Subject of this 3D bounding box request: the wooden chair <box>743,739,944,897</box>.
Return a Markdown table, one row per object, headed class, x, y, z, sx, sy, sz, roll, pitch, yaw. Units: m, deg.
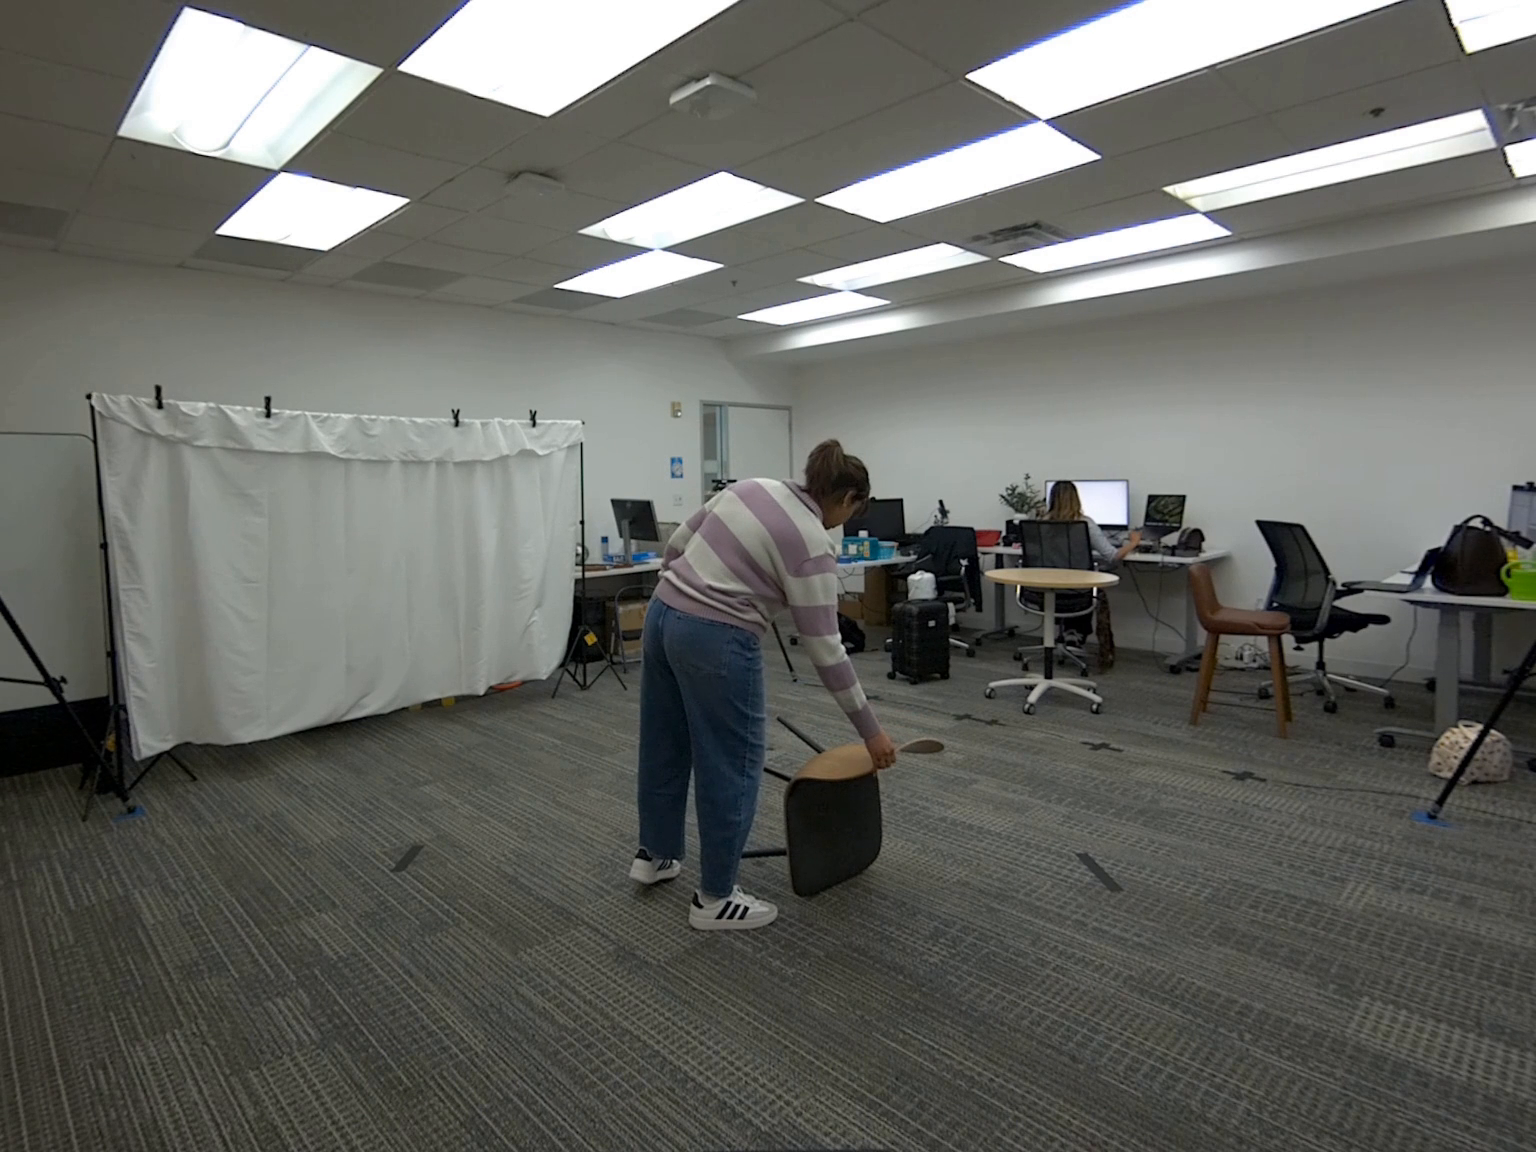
| class | x | y | z | sx | sy | sz | roll | pitch | yaw |
| --- | --- | --- | --- | --- | --- | --- | --- | --- | --- |
| wooden chair | 0.203 | 0.808 | 2.954 | 0.465 | 0.524 | 0.899 | -4 | -2 | -43 |
